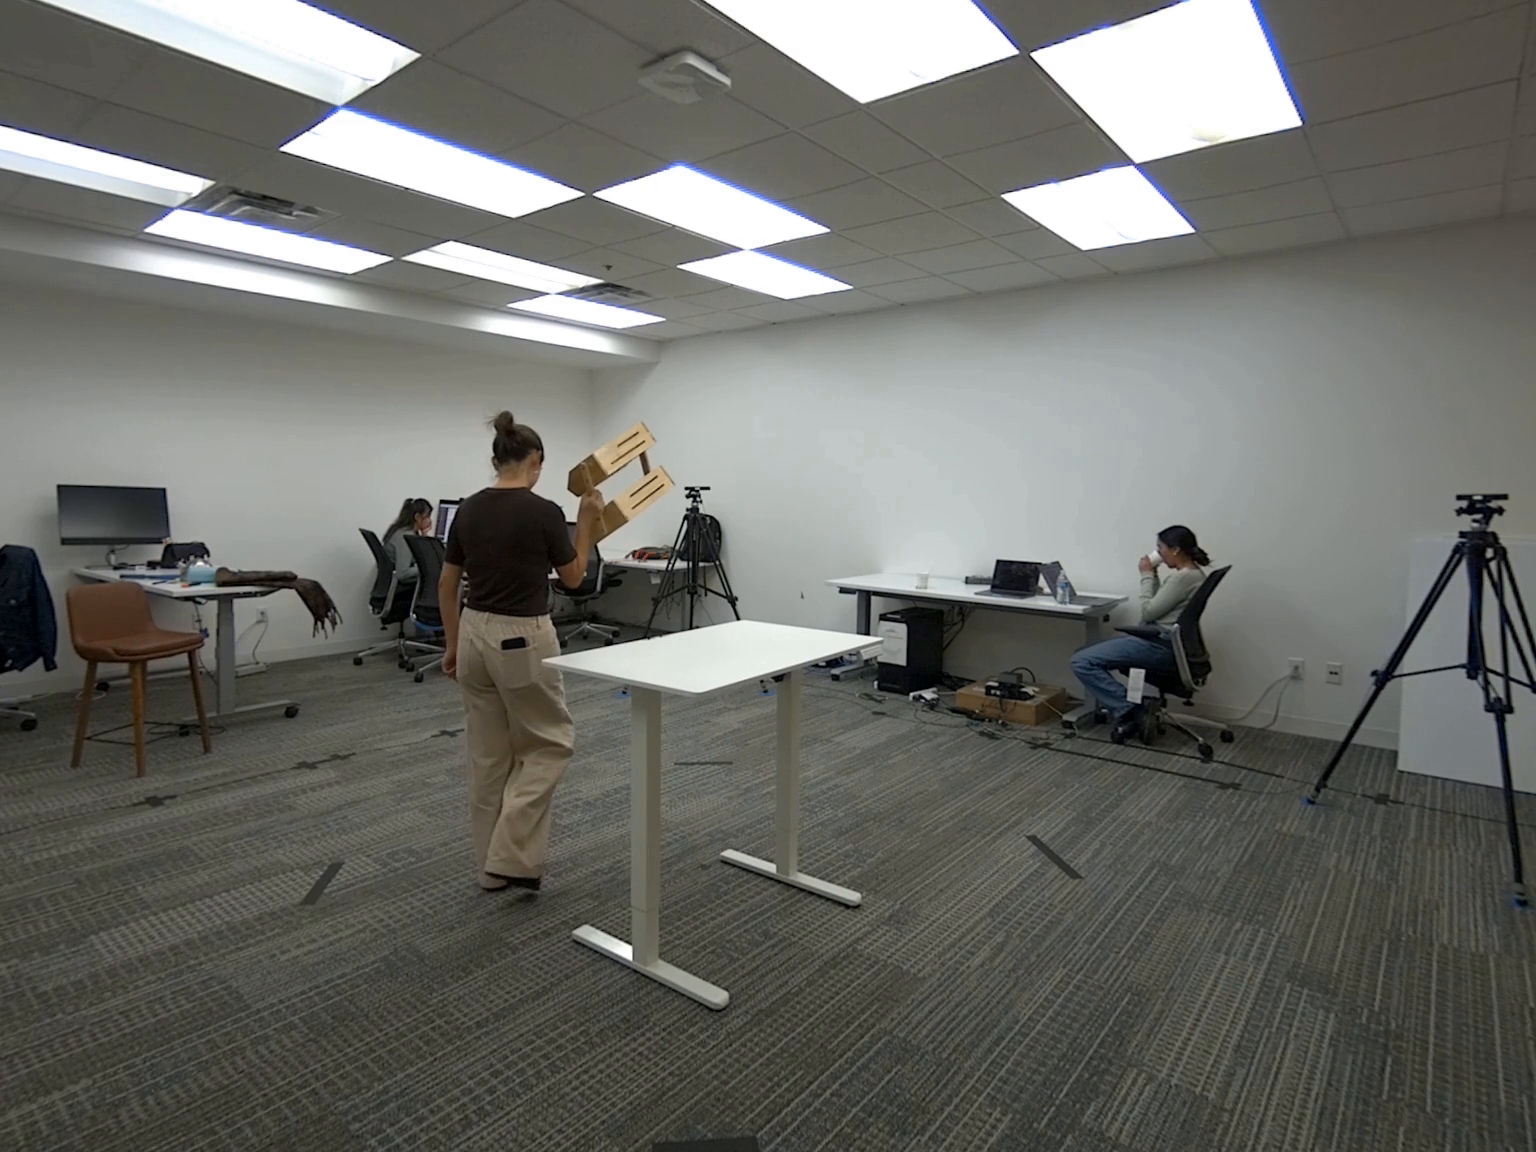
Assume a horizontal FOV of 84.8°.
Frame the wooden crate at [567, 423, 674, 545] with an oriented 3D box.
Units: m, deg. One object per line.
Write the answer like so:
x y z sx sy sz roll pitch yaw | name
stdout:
-0.565 -0.333 3.084 0.306 0.271 0.323 -29 11 42 | wooden crate
